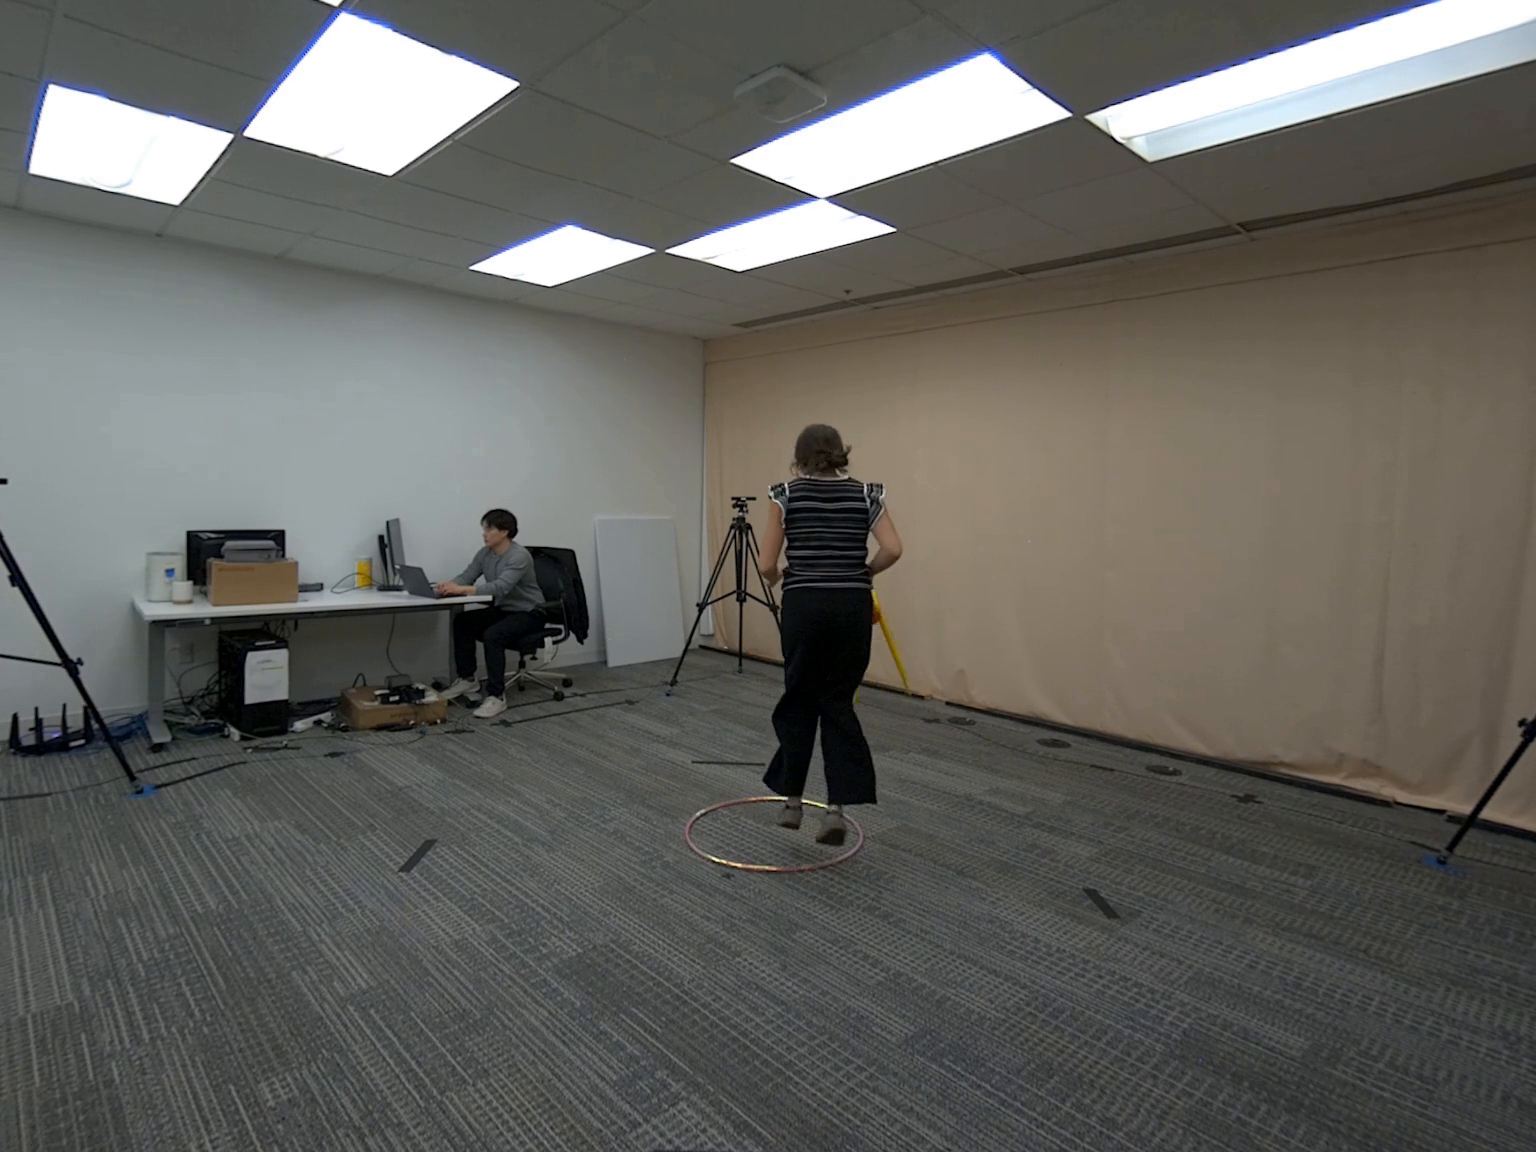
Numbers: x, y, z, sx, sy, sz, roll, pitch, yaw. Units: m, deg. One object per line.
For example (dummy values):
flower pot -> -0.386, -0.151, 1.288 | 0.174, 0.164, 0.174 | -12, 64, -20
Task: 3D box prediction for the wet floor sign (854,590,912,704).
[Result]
wet floor sign -> 0.406, 0.257, 3.510 | 0.290, 0.629, 0.289 | -10, 41, 3
